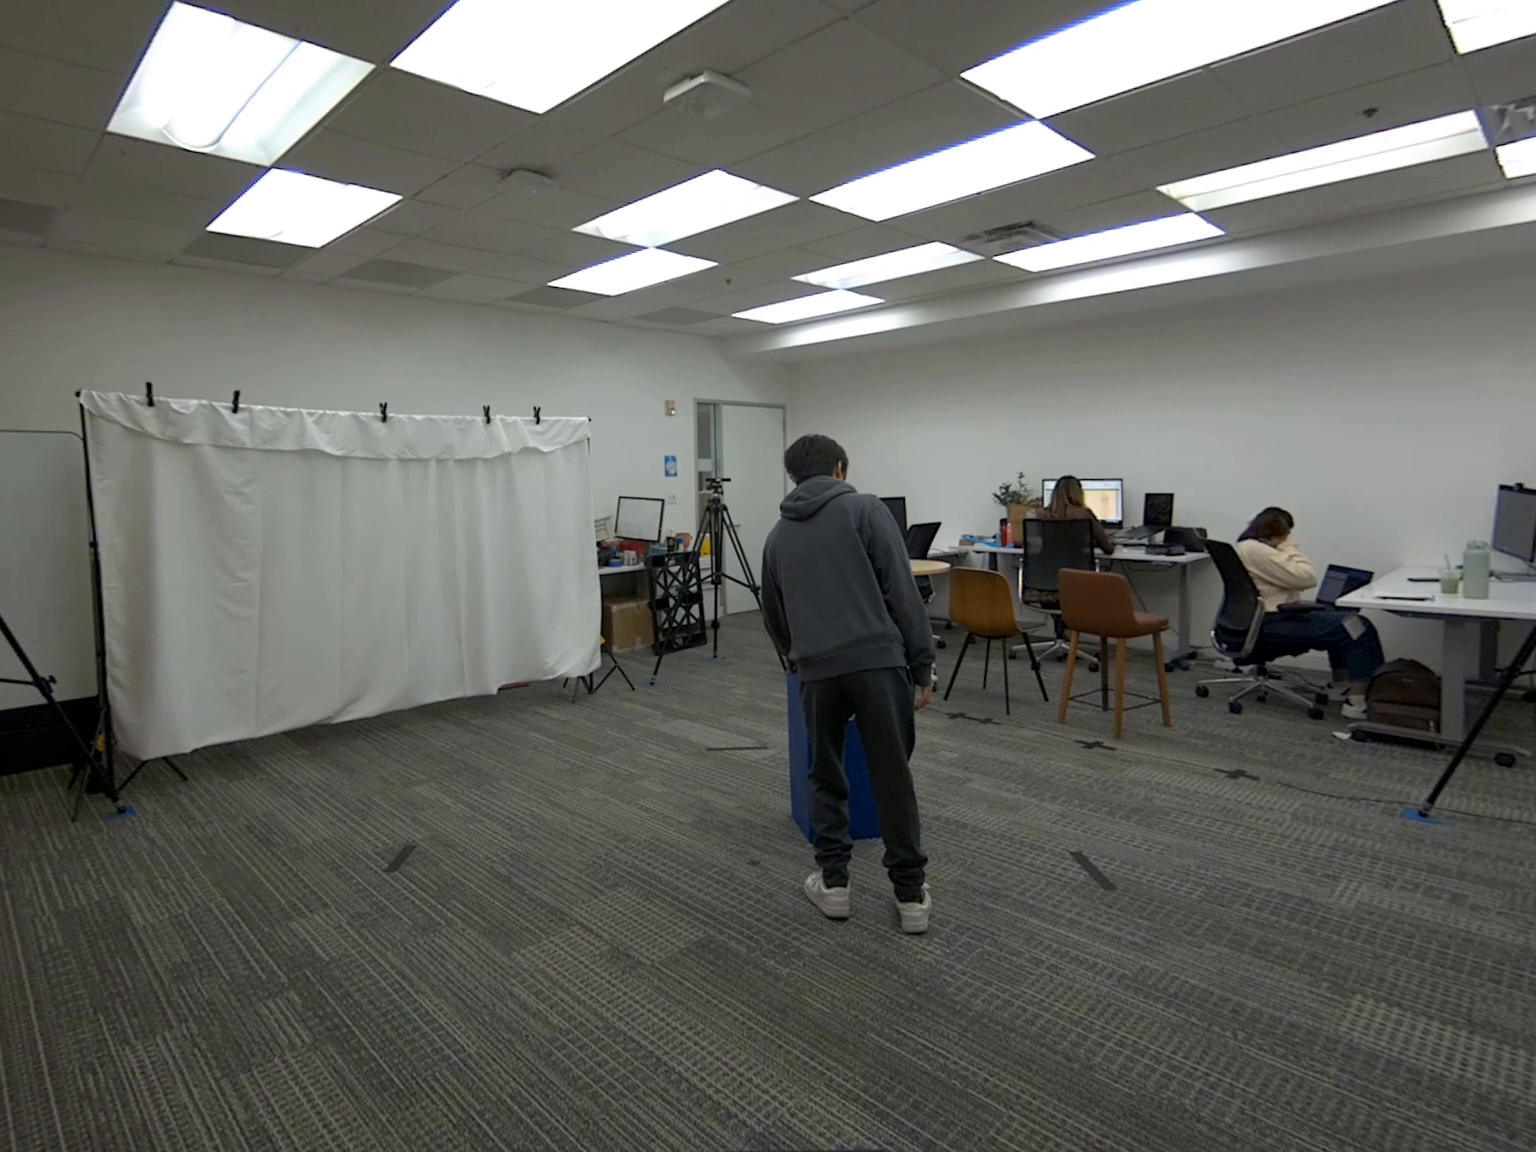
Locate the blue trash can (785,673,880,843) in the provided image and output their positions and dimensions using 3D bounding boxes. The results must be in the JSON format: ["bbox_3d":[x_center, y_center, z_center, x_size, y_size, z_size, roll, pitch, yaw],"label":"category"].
[{"bbox_3d":[0.280,0.649,3.414,0.370,0.711,0.383,-2,4,-11],"label":"blue trash can"}]
